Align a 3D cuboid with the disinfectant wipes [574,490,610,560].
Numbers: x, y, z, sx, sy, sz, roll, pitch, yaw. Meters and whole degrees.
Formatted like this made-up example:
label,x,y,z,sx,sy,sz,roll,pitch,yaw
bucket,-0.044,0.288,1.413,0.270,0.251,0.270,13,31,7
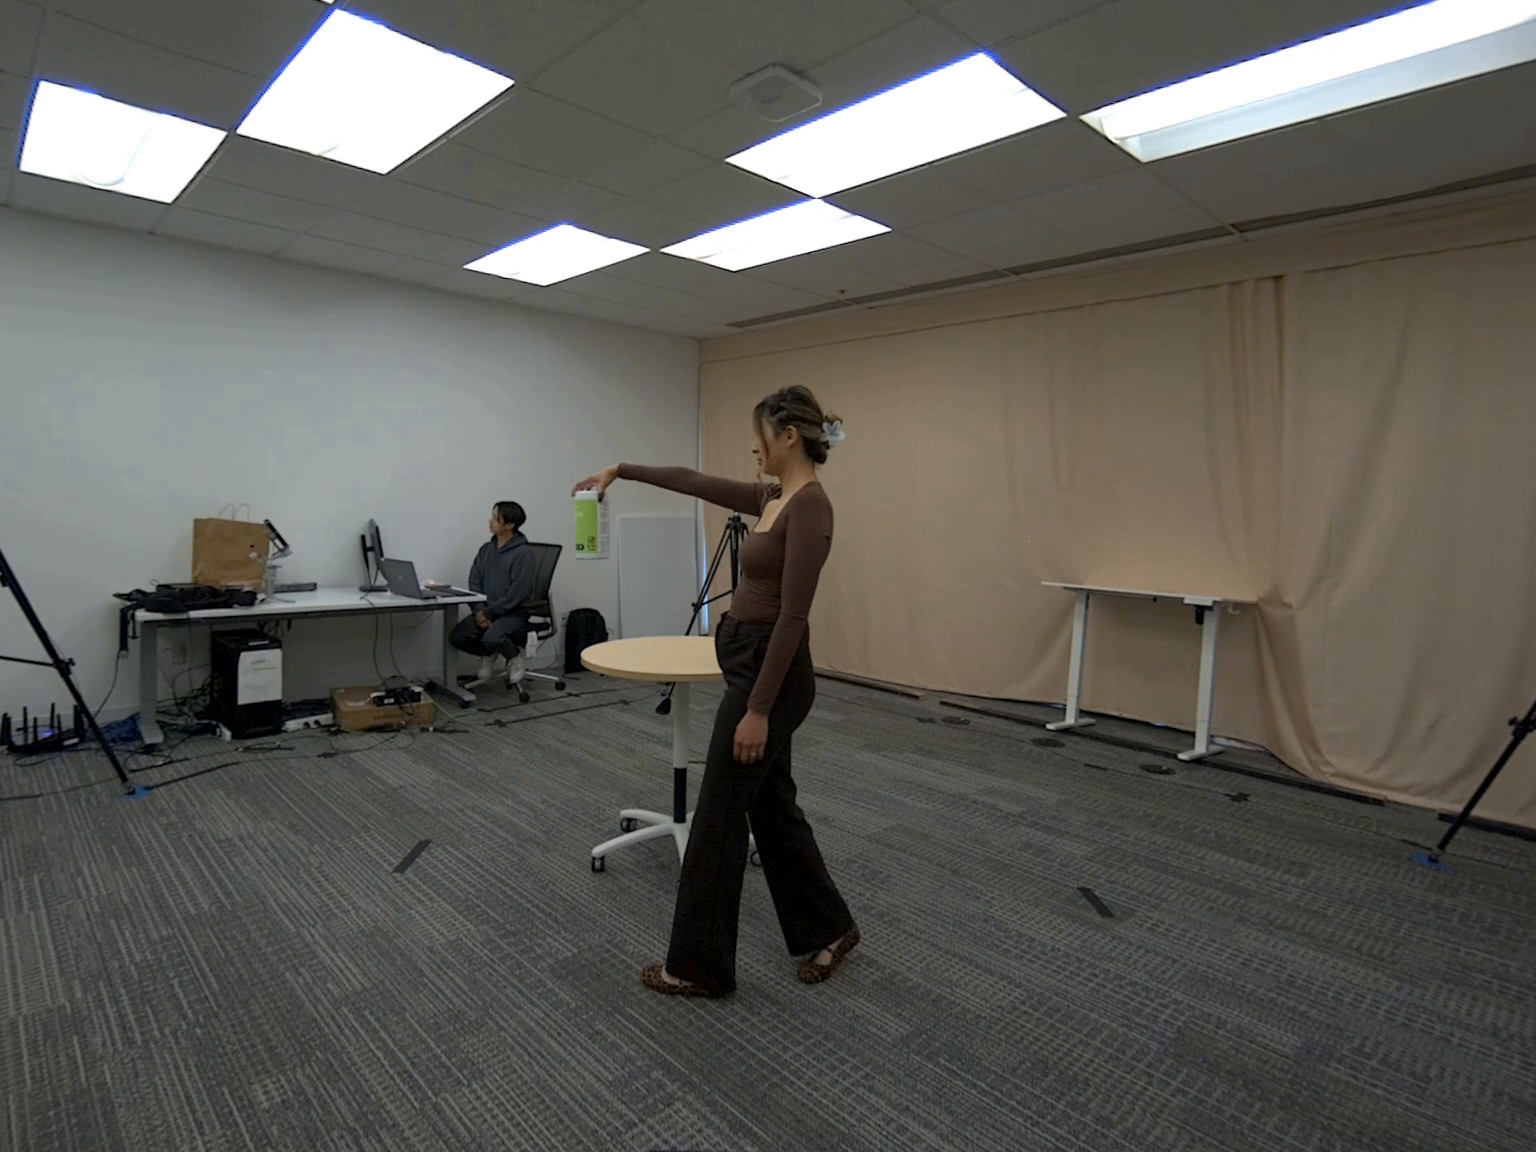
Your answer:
label,x,y,z,sx,sy,sz,roll,pitch,yaw
disinfectant wipes,-0.565,-0.162,2.668,0.118,0.217,0.118,-1,1,-1
